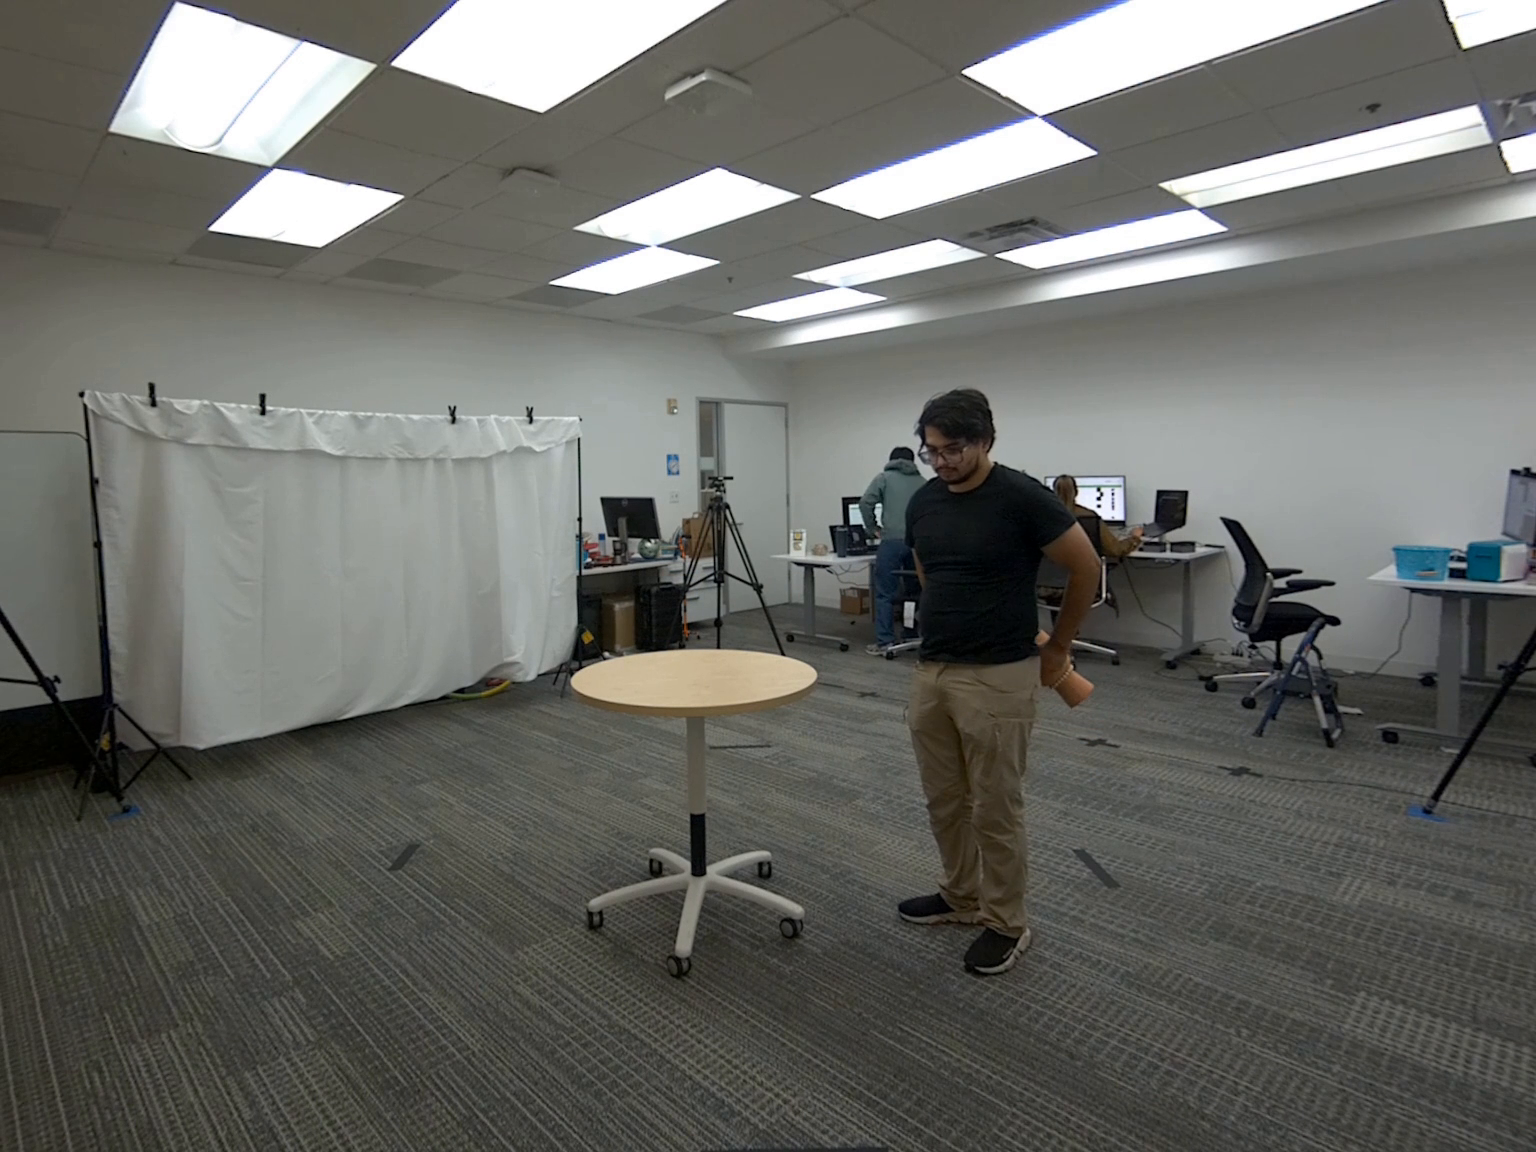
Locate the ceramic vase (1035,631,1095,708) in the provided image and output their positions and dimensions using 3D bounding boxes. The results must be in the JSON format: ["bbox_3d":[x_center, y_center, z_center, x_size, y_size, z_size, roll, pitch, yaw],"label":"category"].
[{"bbox_3d":[0.870,0.285,2.595,0.157,0.223,0.134,-35,-15,-46],"label":"ceramic vase"}]
